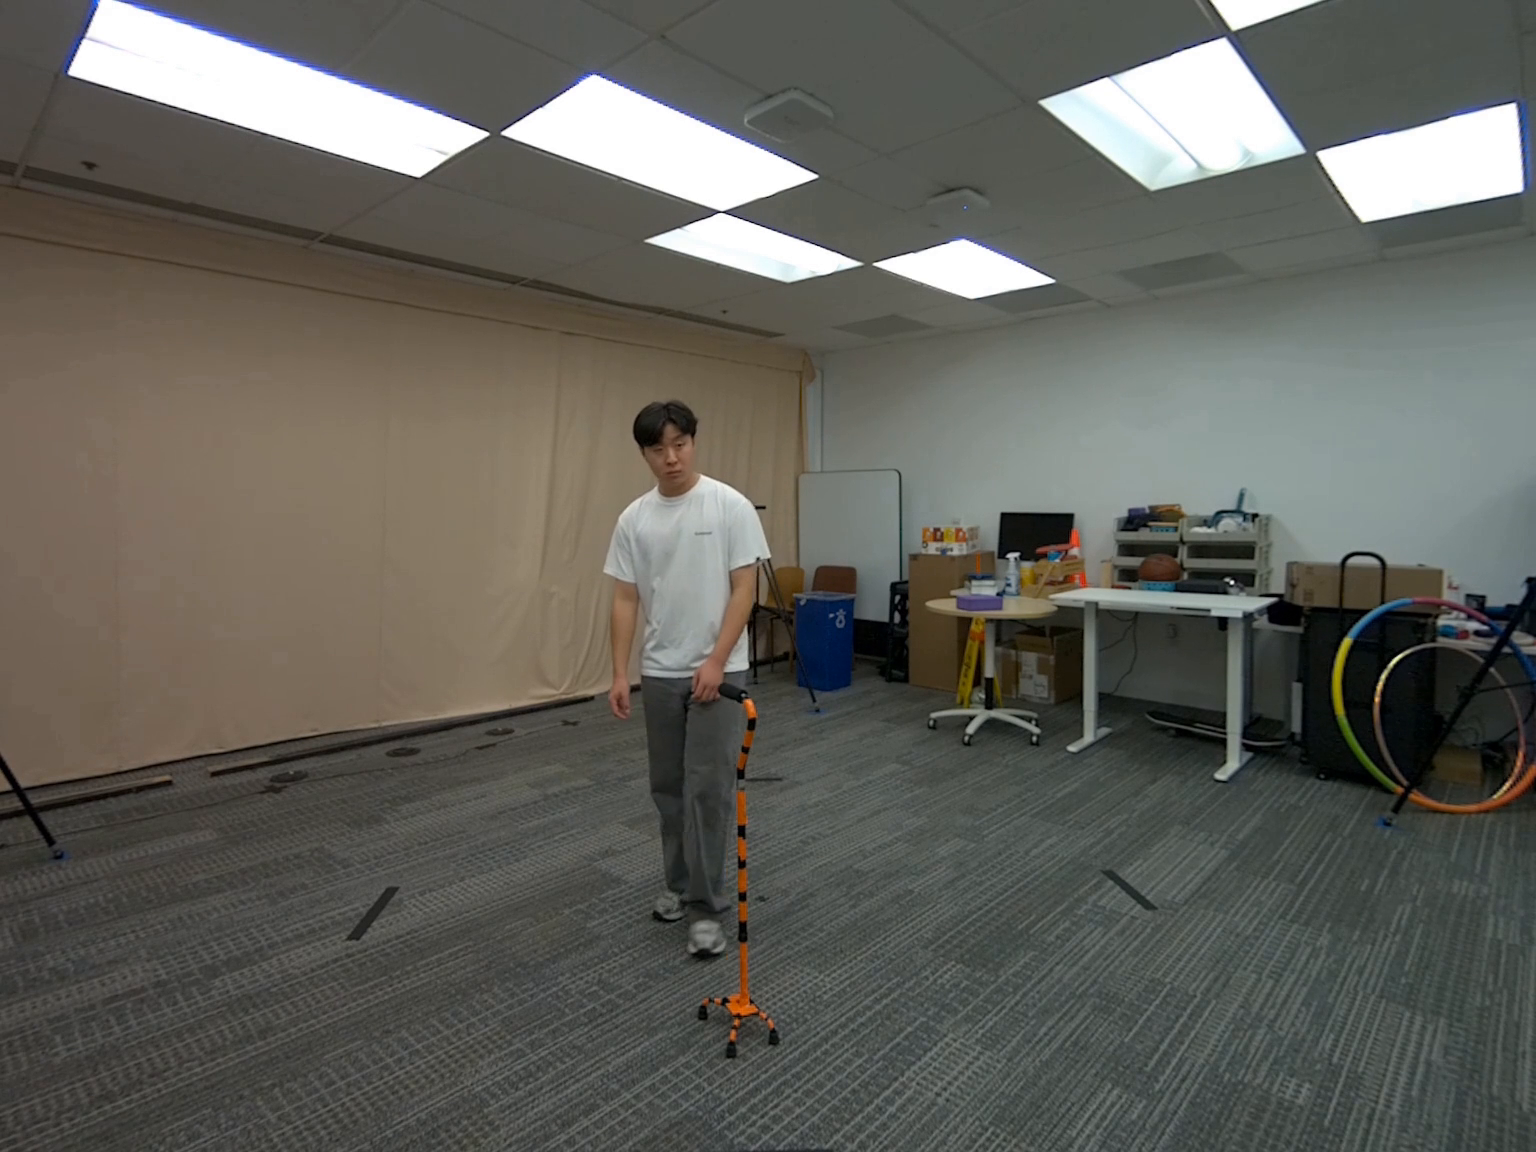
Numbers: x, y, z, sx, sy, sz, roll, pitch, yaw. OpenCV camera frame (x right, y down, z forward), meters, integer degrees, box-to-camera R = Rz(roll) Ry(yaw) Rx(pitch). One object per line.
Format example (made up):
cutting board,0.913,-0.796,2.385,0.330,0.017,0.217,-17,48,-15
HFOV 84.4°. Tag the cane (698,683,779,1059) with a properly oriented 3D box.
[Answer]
cane,-0.079,0.754,2.215,0.148,0.906,0.212,-2,4,-28
